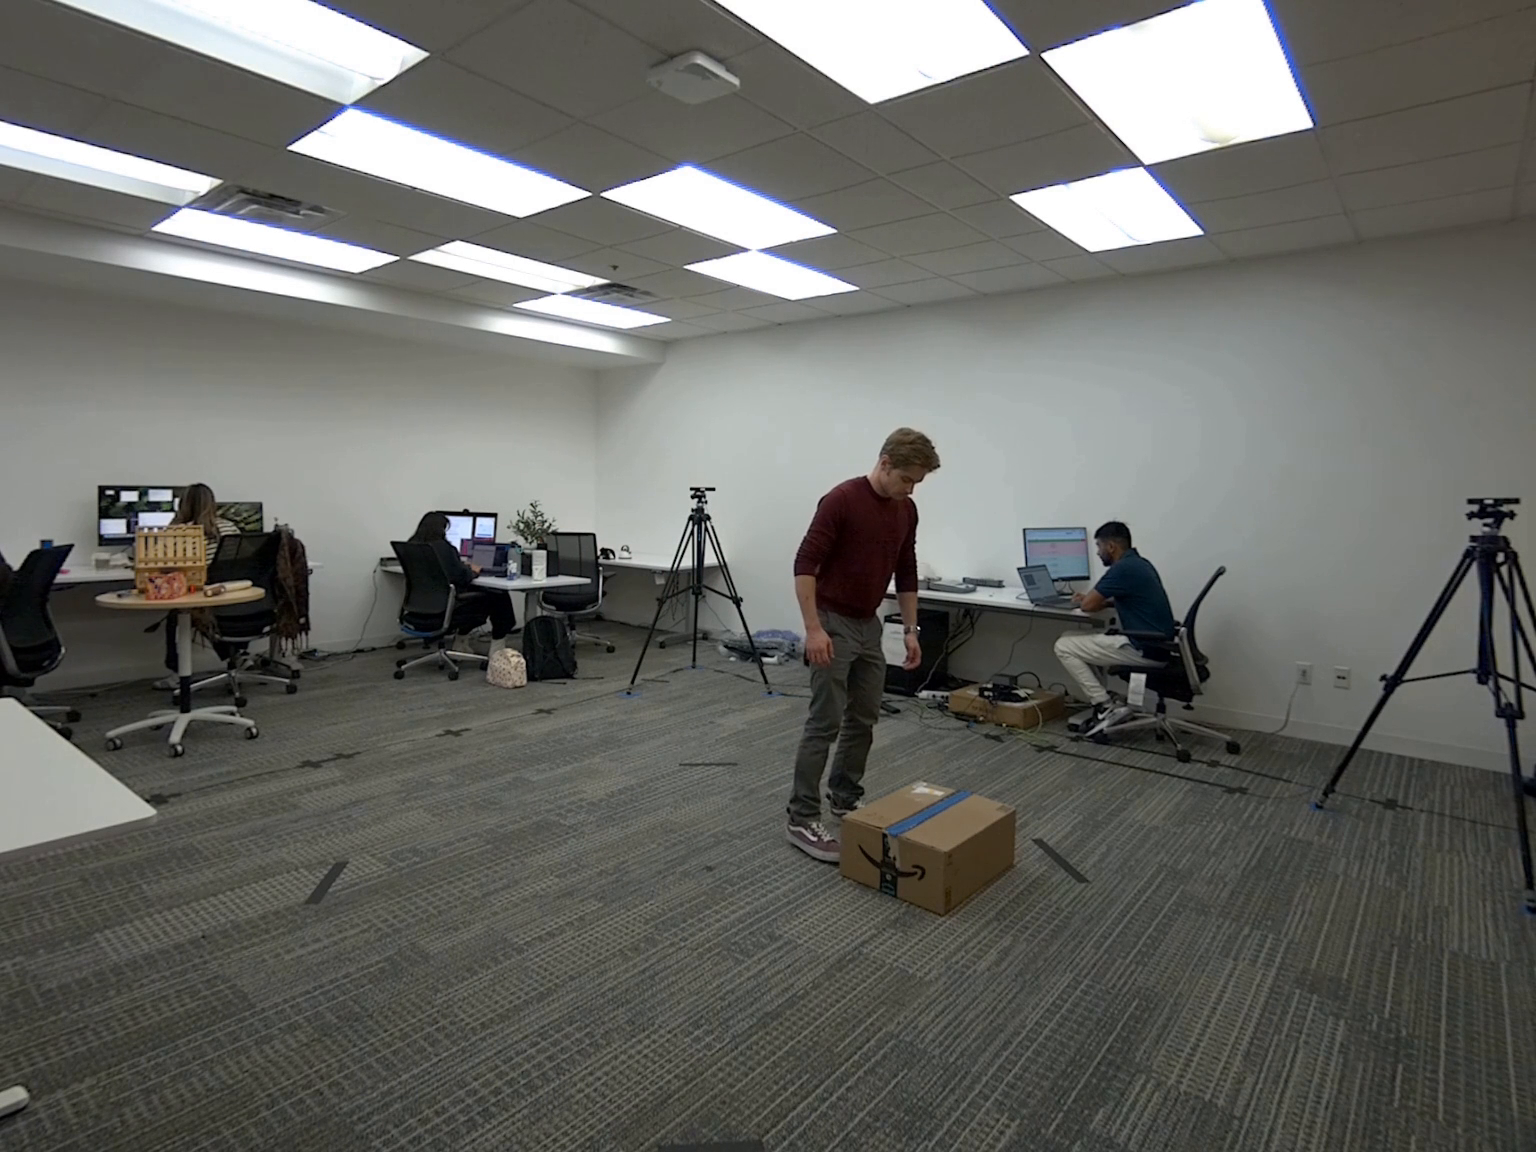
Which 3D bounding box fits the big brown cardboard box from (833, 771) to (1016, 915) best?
[{"bbox_3d":[0.589,0.965,3.136,0.432,0.232,0.571,6,7,40],"label":"big brown cardboard box"}]
